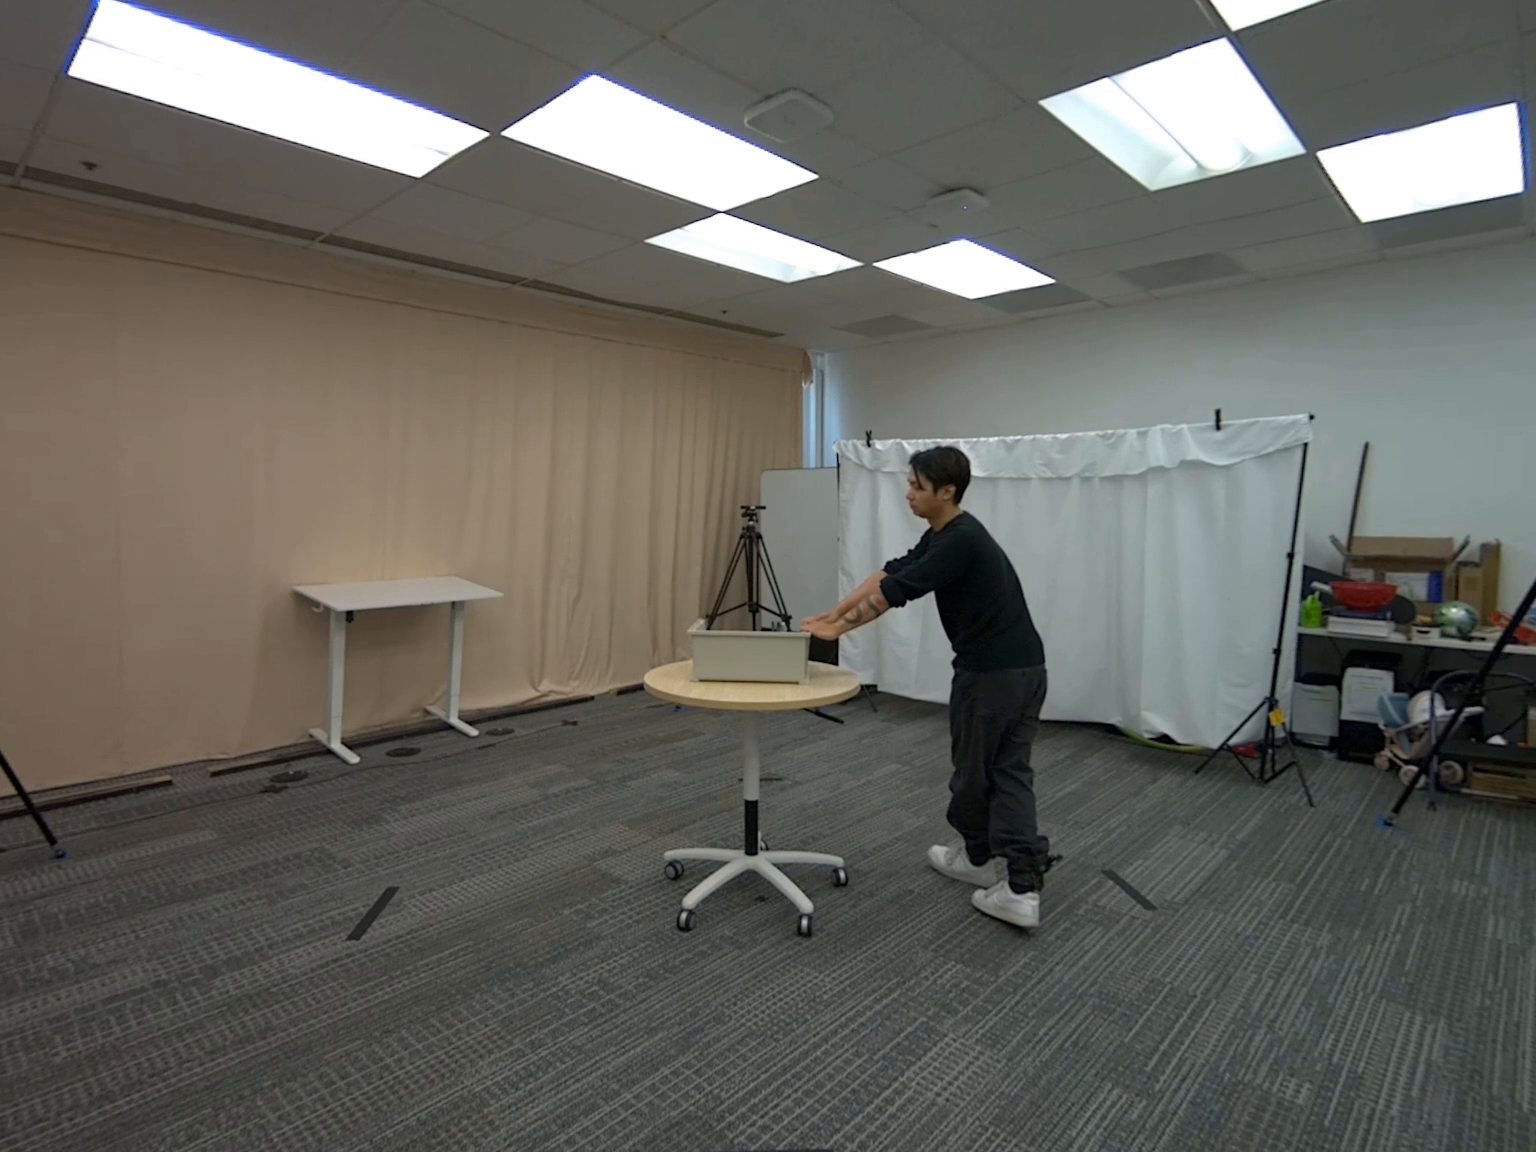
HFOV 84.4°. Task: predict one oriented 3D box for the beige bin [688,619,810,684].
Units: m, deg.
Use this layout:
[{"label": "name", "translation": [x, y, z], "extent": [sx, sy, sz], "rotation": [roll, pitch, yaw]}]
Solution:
[{"label": "beige bin", "translation": [-0.054, 0.262, 3.061], "extent": [0.425, 0.188, 0.376], "rotation": [1, 6, 5]}]
